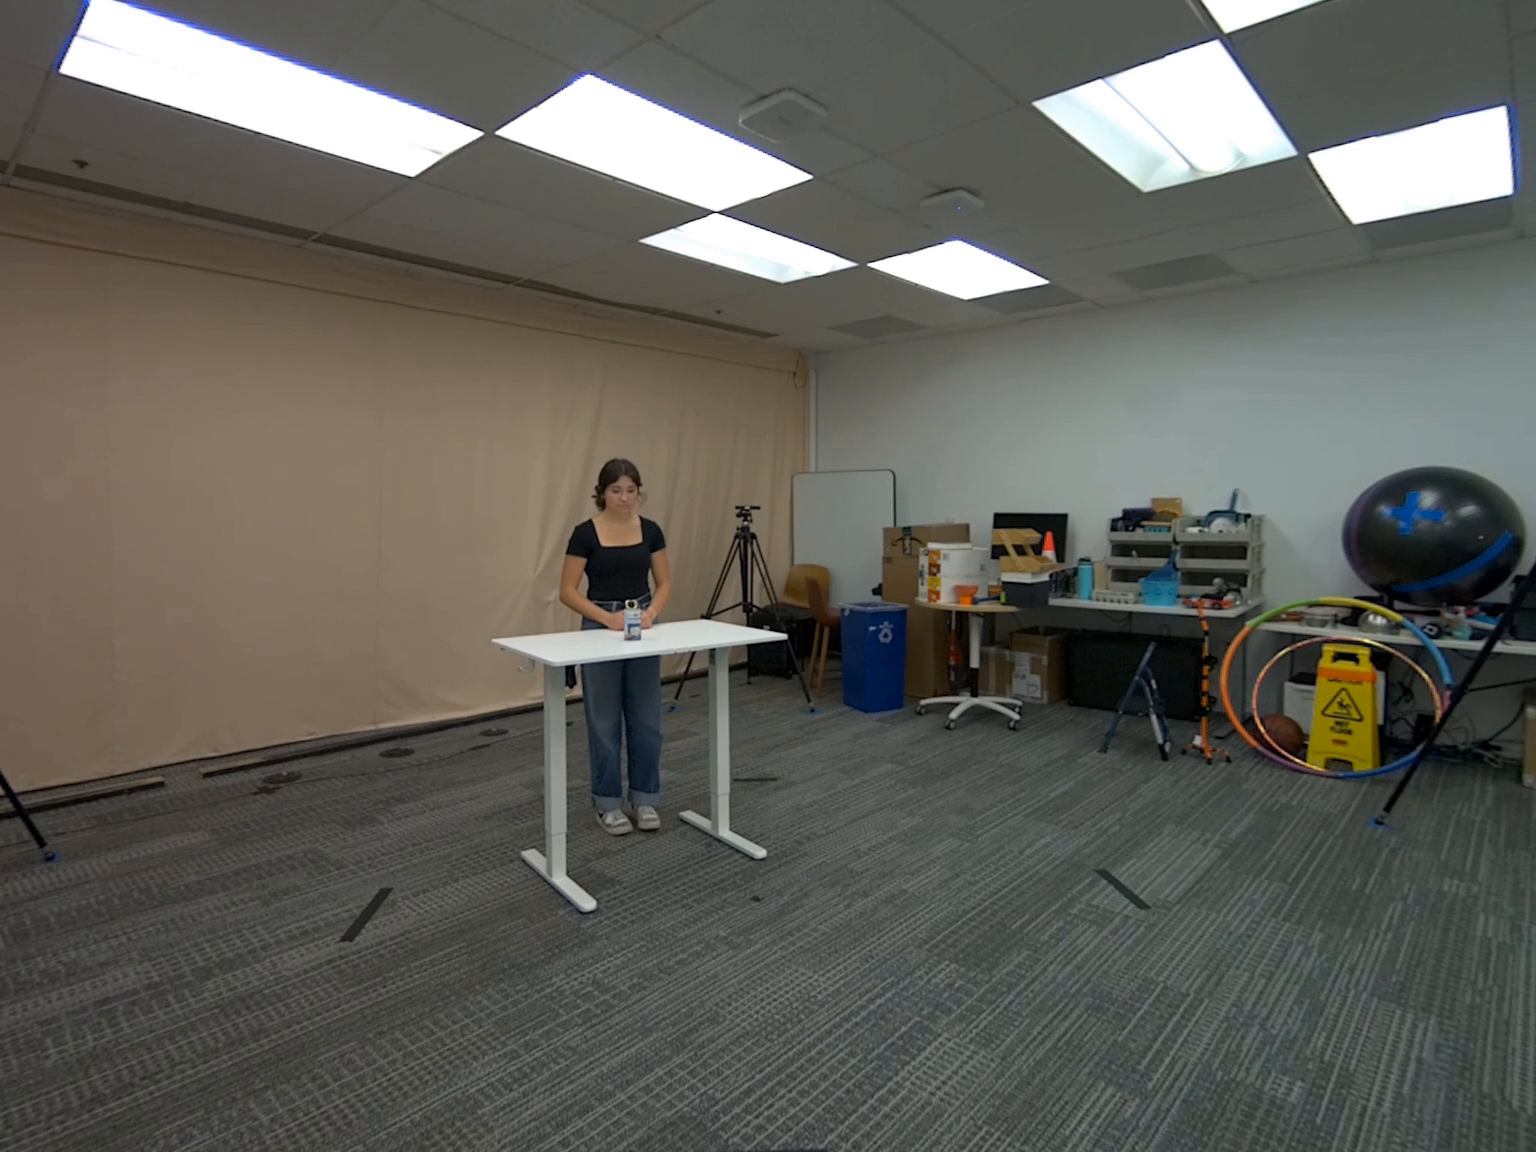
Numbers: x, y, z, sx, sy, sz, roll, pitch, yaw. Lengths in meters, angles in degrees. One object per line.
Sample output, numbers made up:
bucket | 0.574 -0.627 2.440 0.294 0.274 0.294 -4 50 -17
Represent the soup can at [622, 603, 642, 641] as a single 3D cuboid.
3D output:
soup can | -0.523 0.187 3.235 0.067 0.121 0.067 -2 2 -2
